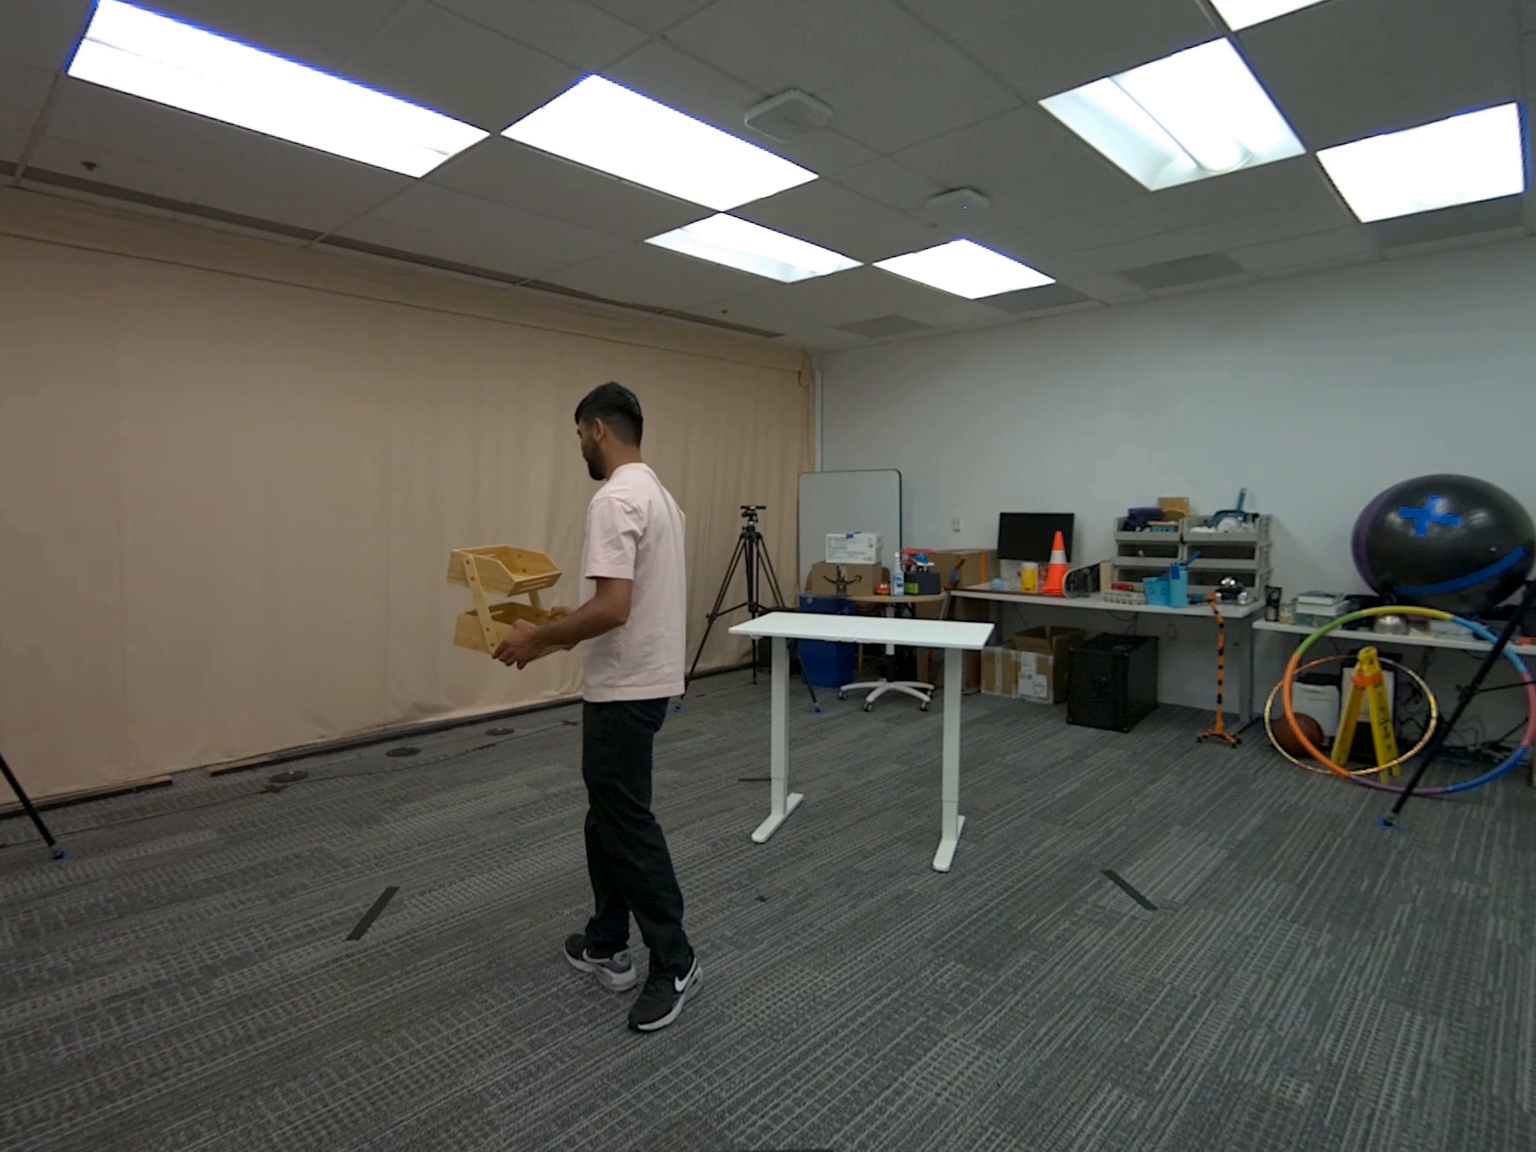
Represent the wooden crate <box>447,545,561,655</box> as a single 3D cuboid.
[{"bbox_3d":[-0.722,0.073,2.452,0.306,0.272,0.321,12,7,11],"label":"wooden crate"}]
